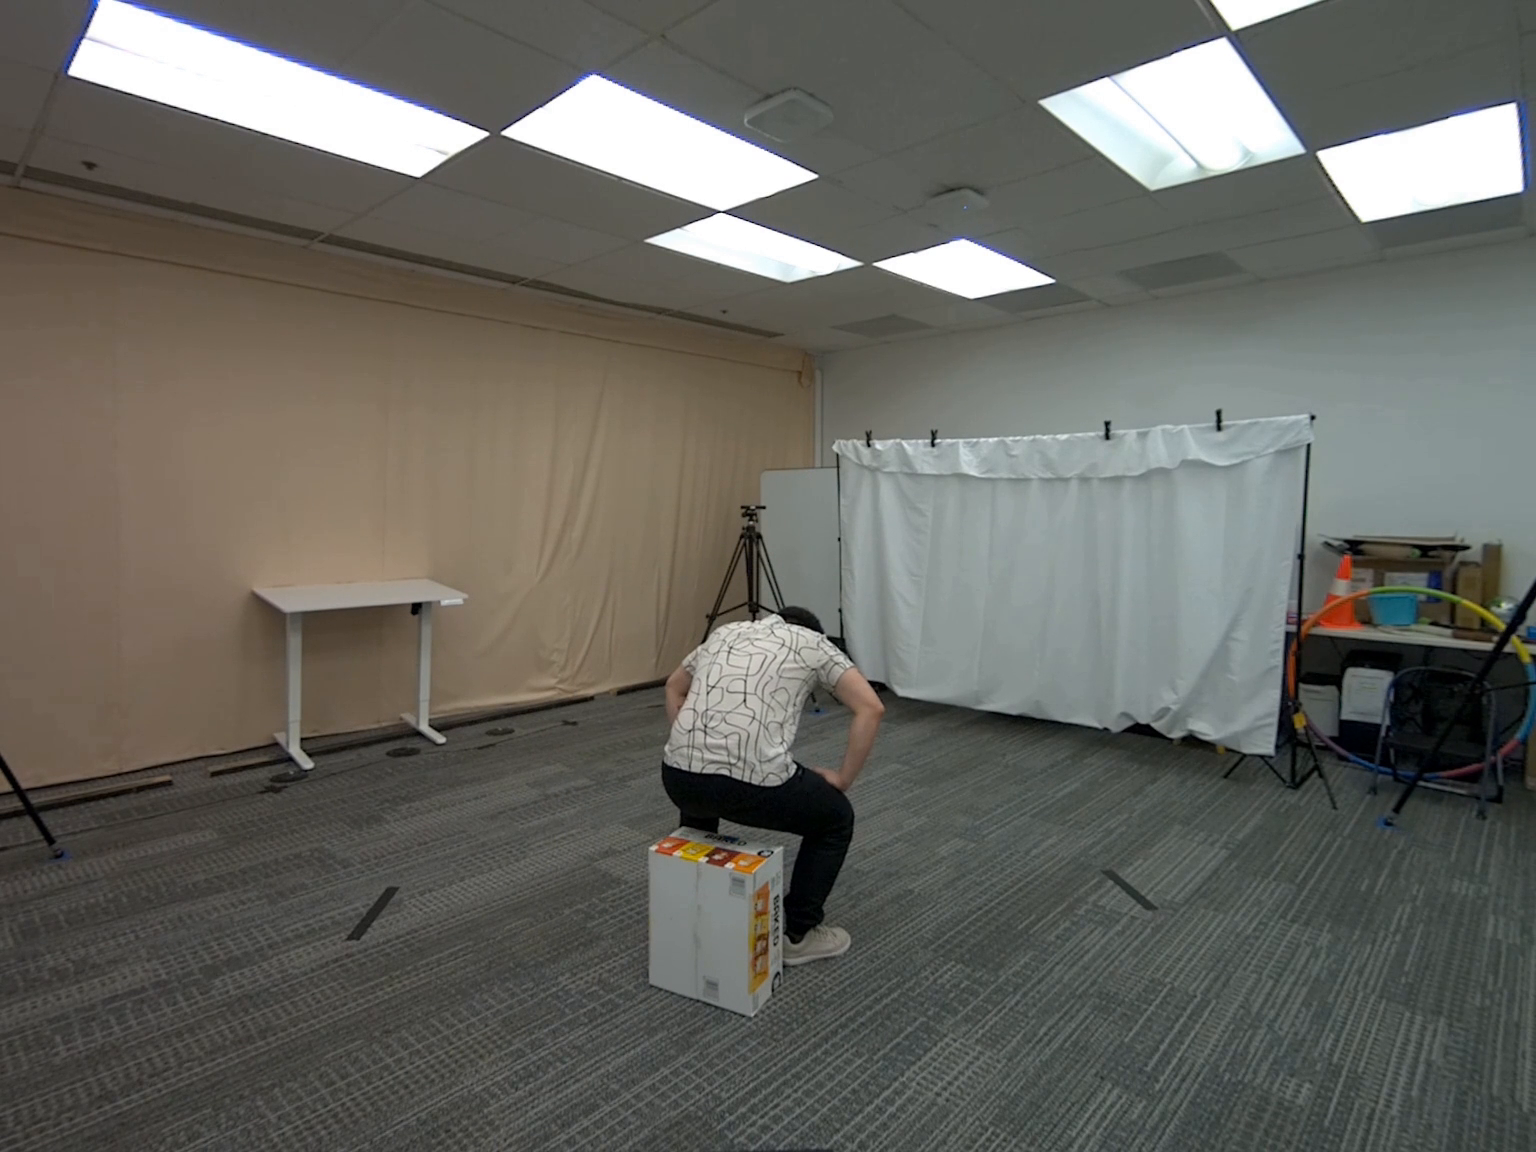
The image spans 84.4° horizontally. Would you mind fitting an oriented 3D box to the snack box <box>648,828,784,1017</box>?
[{"bbox_3d":[-0.149,0.987,2.438,0.350,0.404,0.200,2,3,28],"label":"snack box"}]
